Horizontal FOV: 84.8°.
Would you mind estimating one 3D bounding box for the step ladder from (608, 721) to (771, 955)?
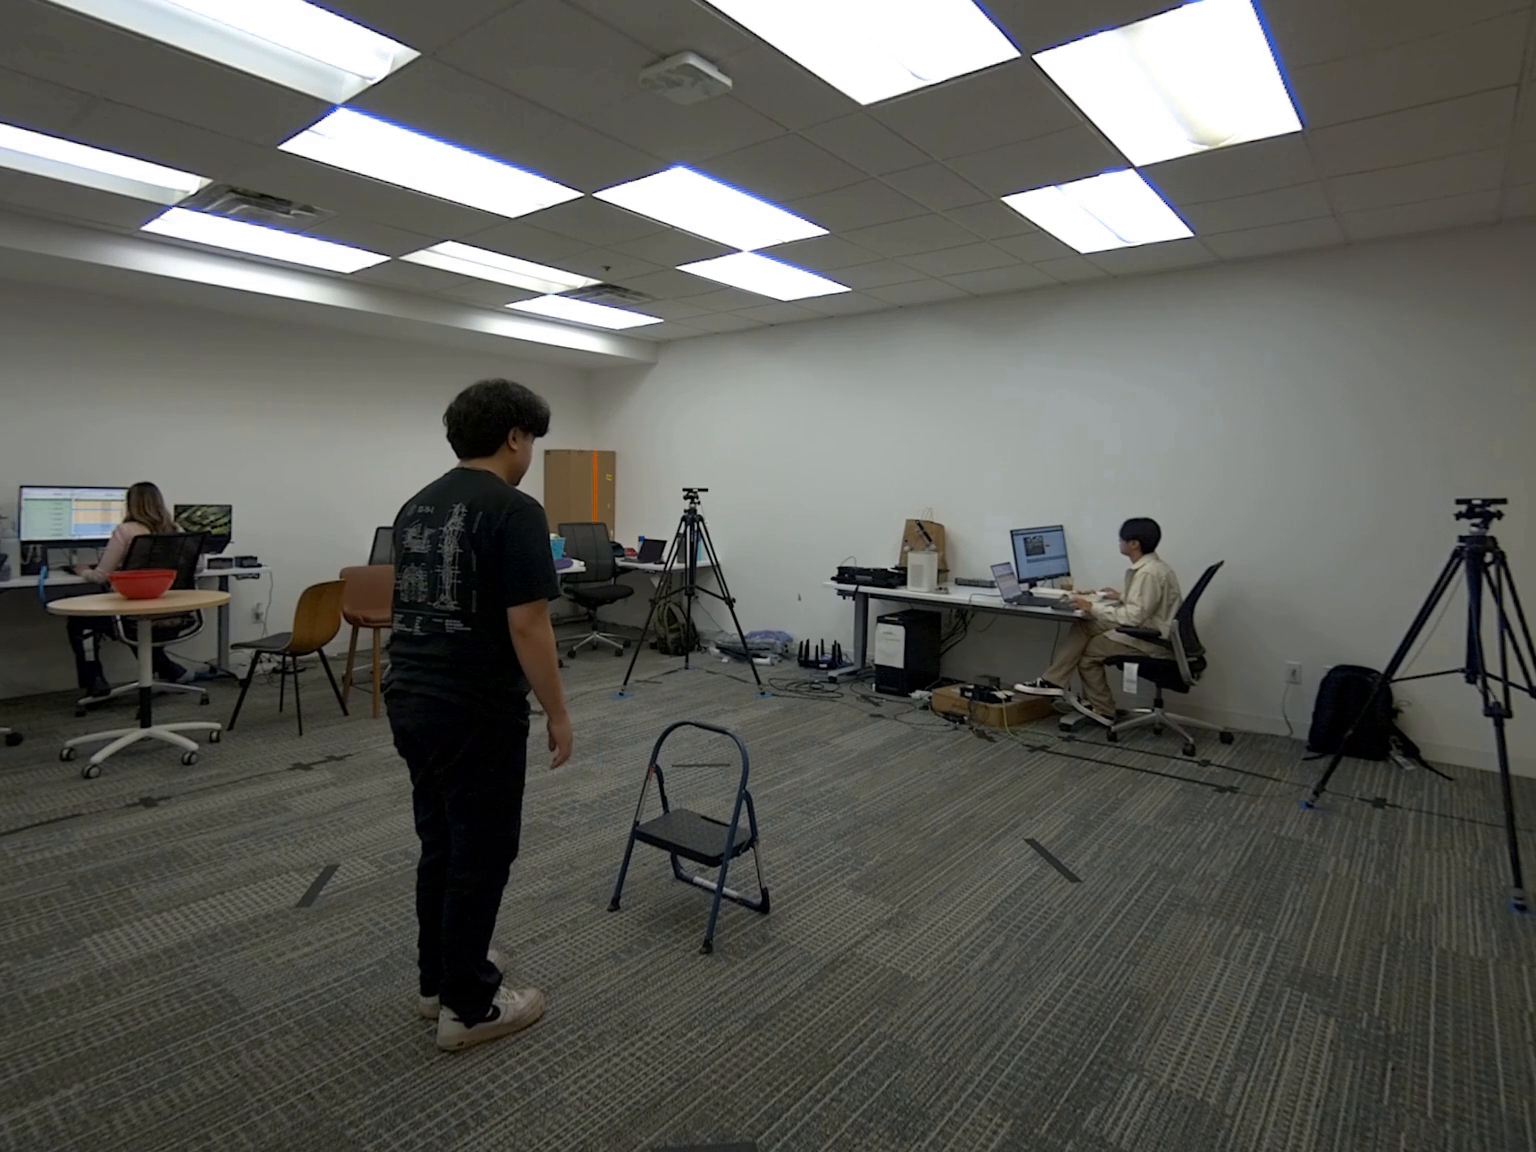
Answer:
[{"bbox_3d":[-0.257,0.796,2.782,0.445,0.604,0.339,4,5,37],"label":"step ladder"}]
